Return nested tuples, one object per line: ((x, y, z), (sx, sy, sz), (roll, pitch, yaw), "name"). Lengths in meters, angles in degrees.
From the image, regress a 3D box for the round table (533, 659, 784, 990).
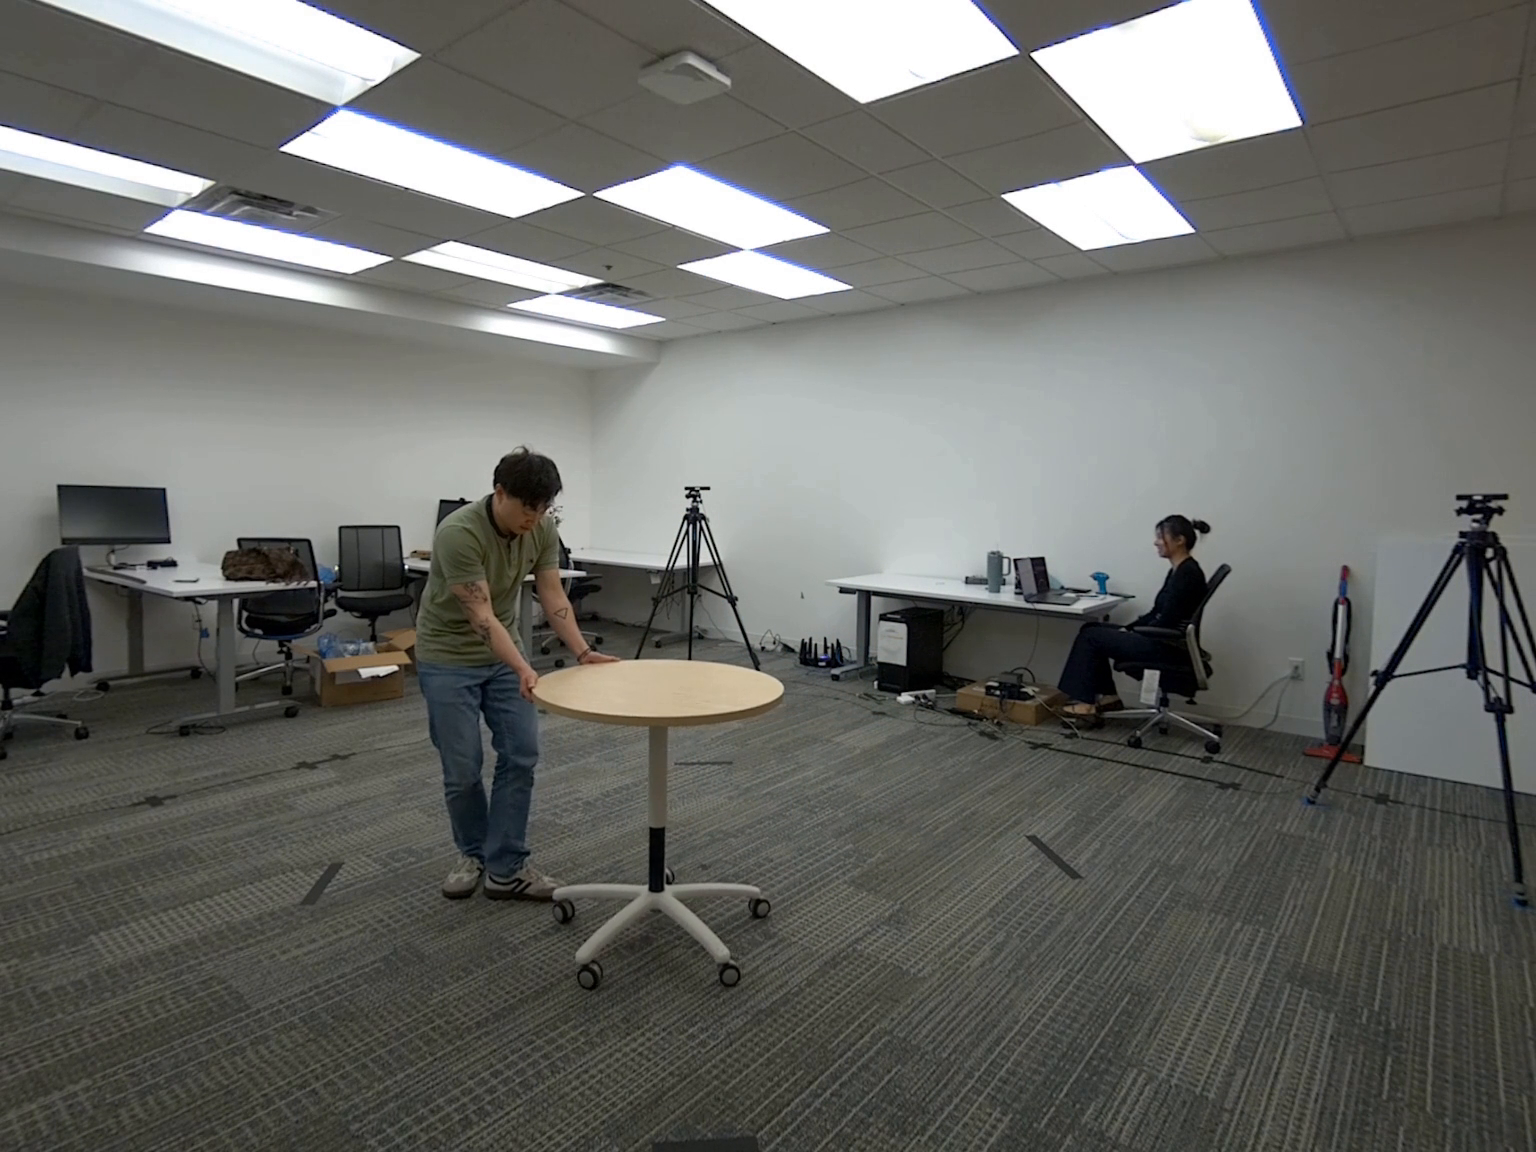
((-0.347, 0.723, 2.622), (0.763, 0.791, 0.768), (1, 4, -2), "round table")
